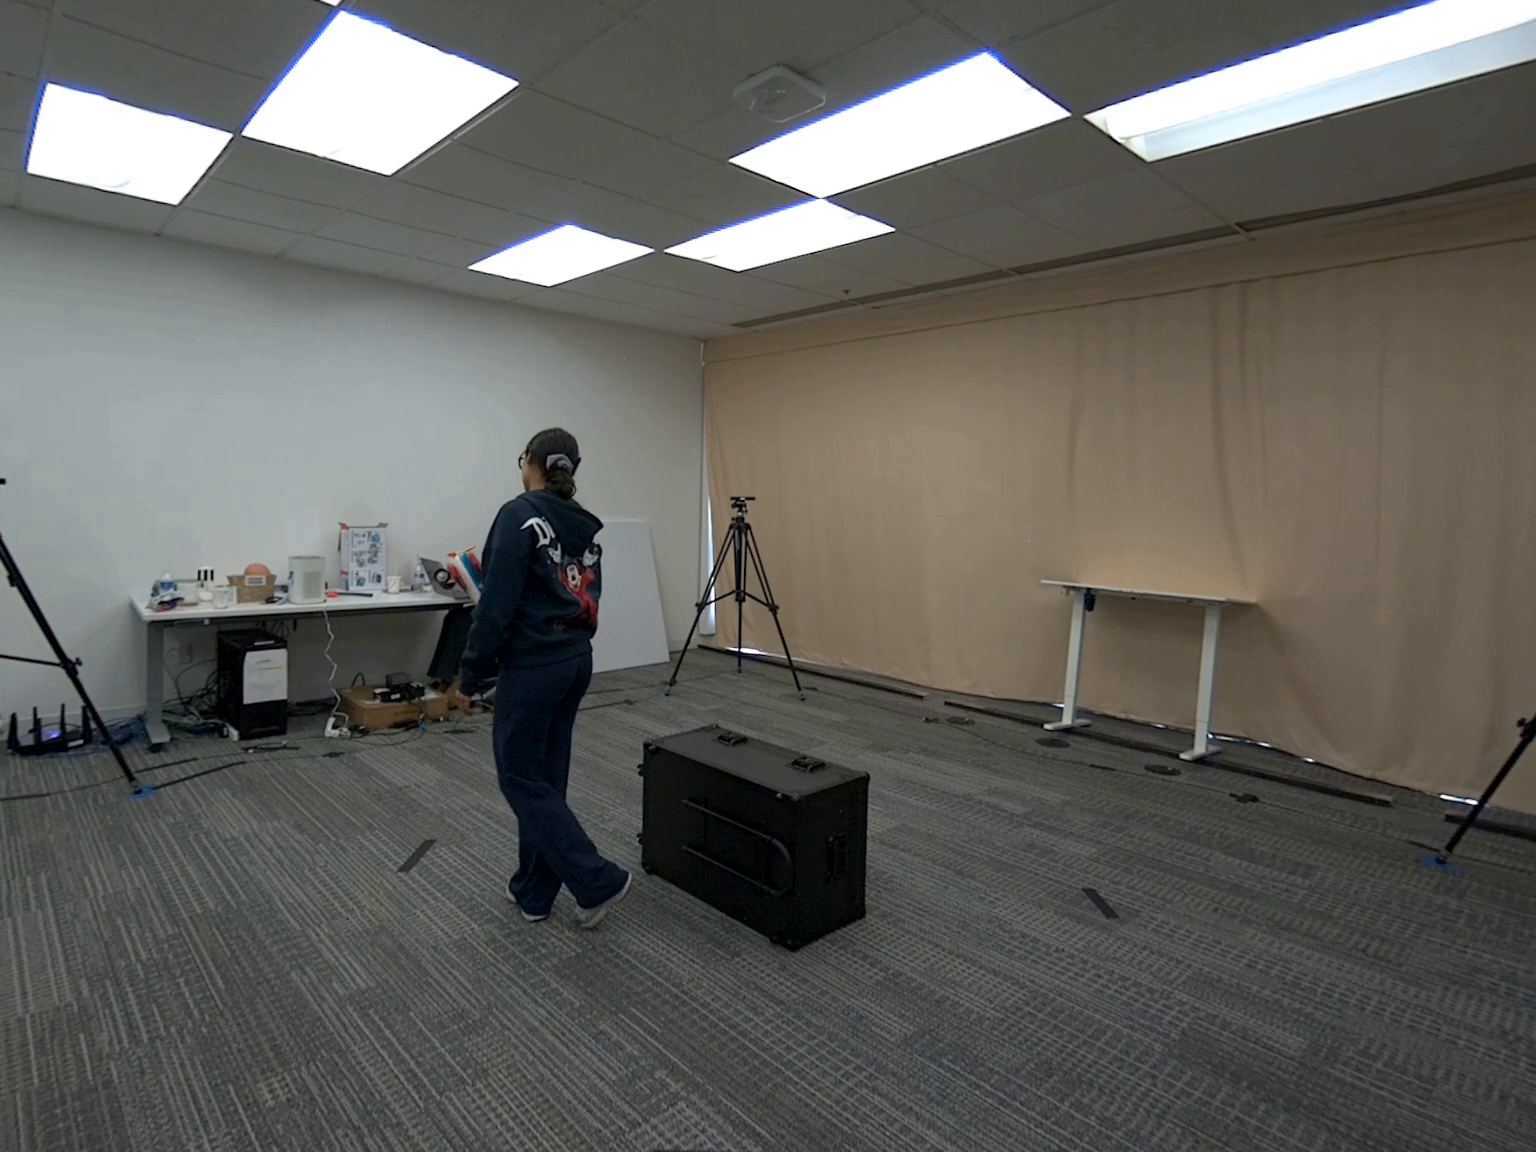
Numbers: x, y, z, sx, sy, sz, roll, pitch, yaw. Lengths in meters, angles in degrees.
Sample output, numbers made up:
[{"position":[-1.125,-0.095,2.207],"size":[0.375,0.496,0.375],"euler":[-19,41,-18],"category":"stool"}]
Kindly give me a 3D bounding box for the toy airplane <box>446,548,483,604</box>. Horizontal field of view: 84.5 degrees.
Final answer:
[{"position":[-1.029,0.041,2.957],"size":[0.156,0.253,0.257],"euler":[-46,24,-16],"category":"toy airplane"}]
